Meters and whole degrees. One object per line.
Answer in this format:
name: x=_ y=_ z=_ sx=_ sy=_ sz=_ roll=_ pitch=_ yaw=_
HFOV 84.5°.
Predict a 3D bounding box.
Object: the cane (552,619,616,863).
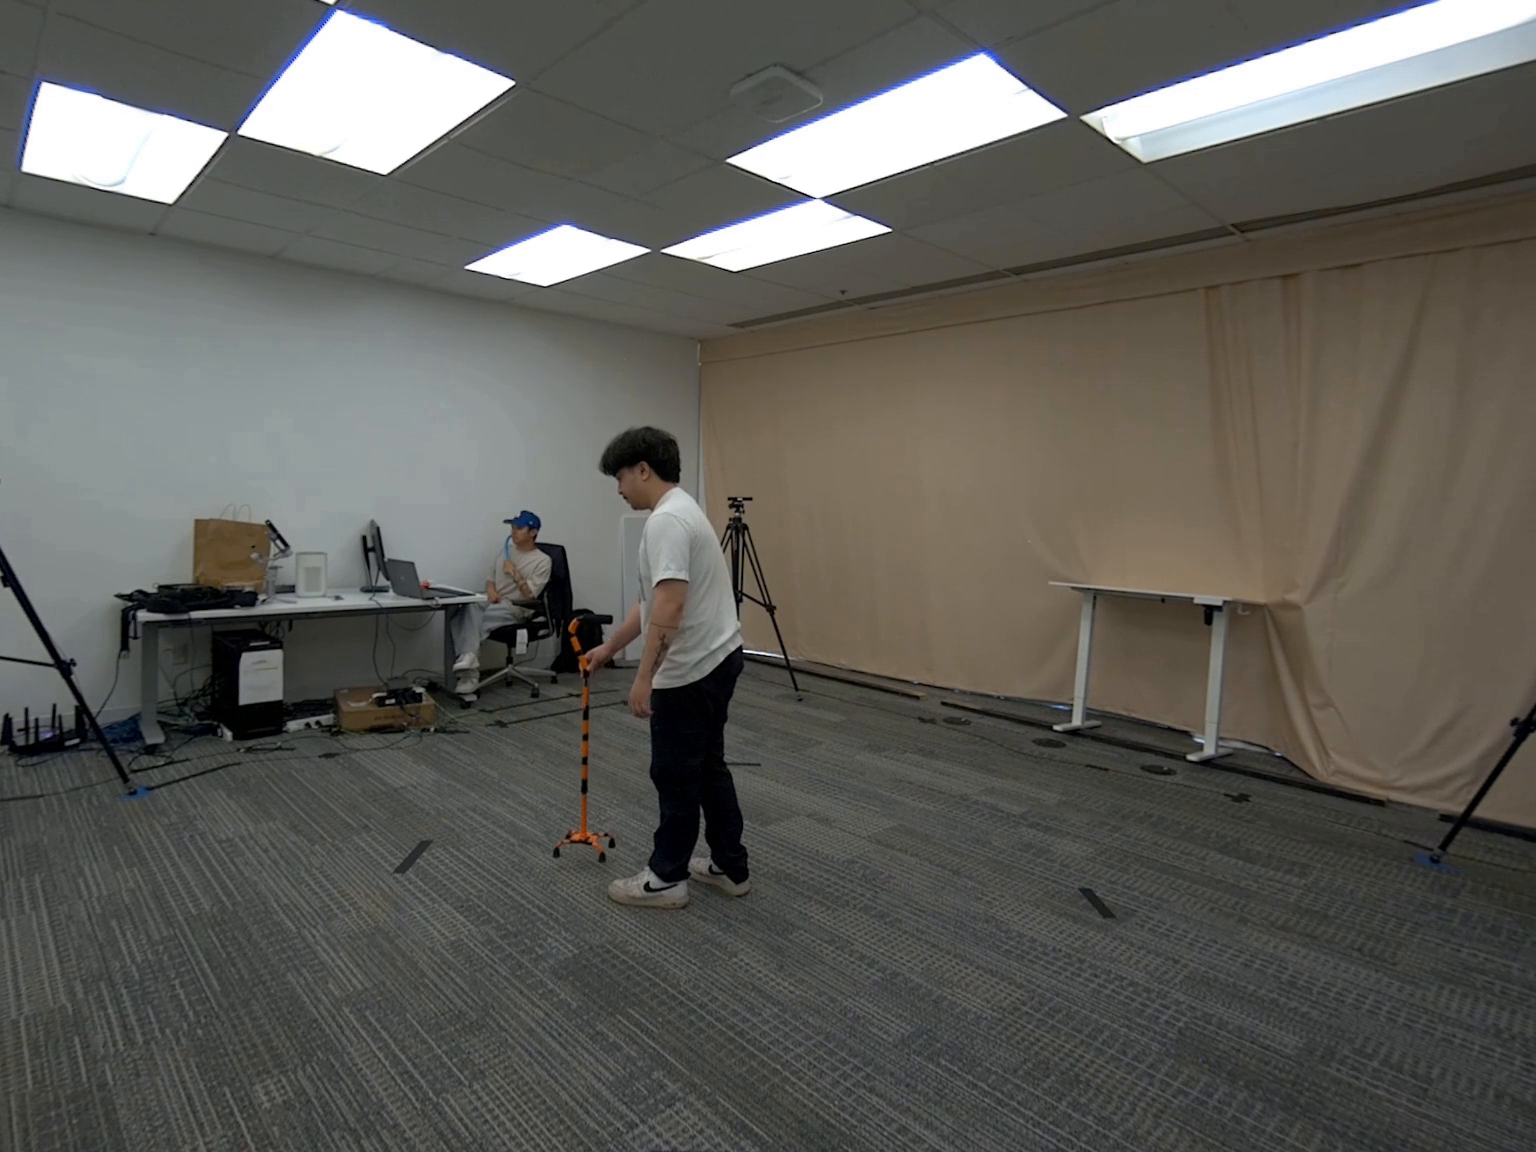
cane: x=-0.690 y=0.603 z=3.141 sx=0.208 sy=0.904 sz=0.151 roll=2 pitch=6 yaw=9
